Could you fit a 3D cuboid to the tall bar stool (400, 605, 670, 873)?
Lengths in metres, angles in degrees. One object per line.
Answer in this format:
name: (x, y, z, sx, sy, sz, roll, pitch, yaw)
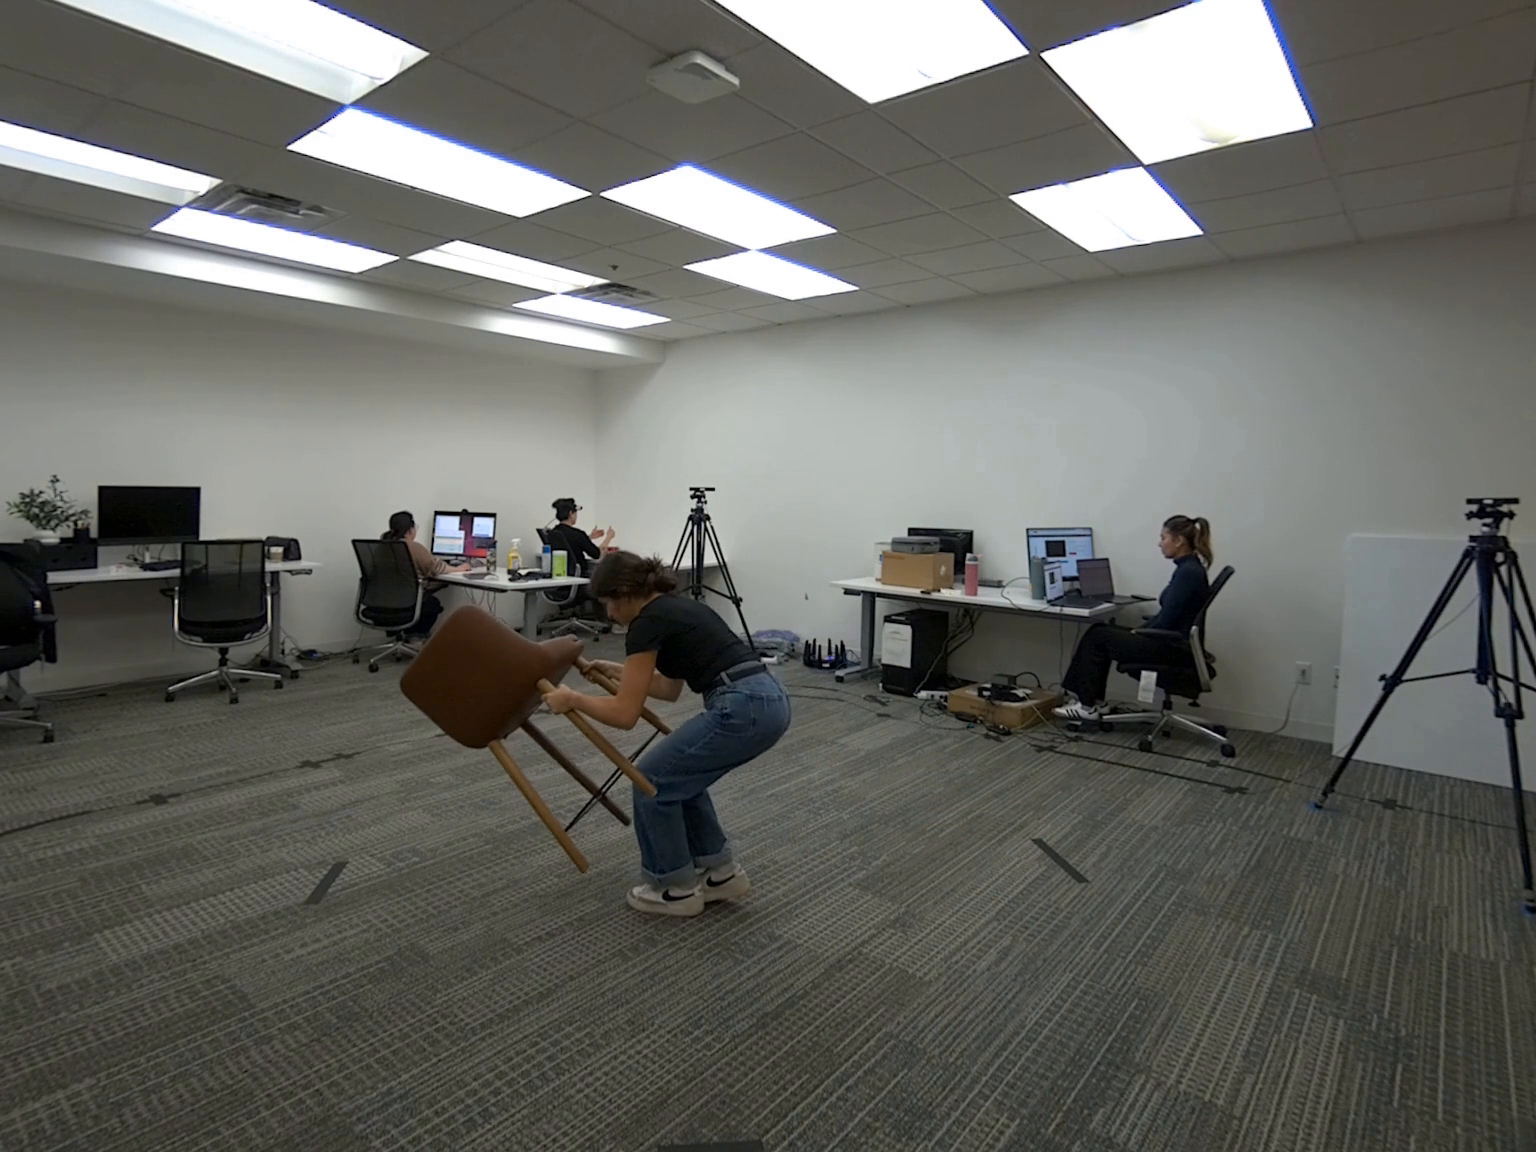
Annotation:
tall bar stool: (-0.764, 0.495, 2.930, 0.900, 0.456, 0.463, 41, 11, 7)
